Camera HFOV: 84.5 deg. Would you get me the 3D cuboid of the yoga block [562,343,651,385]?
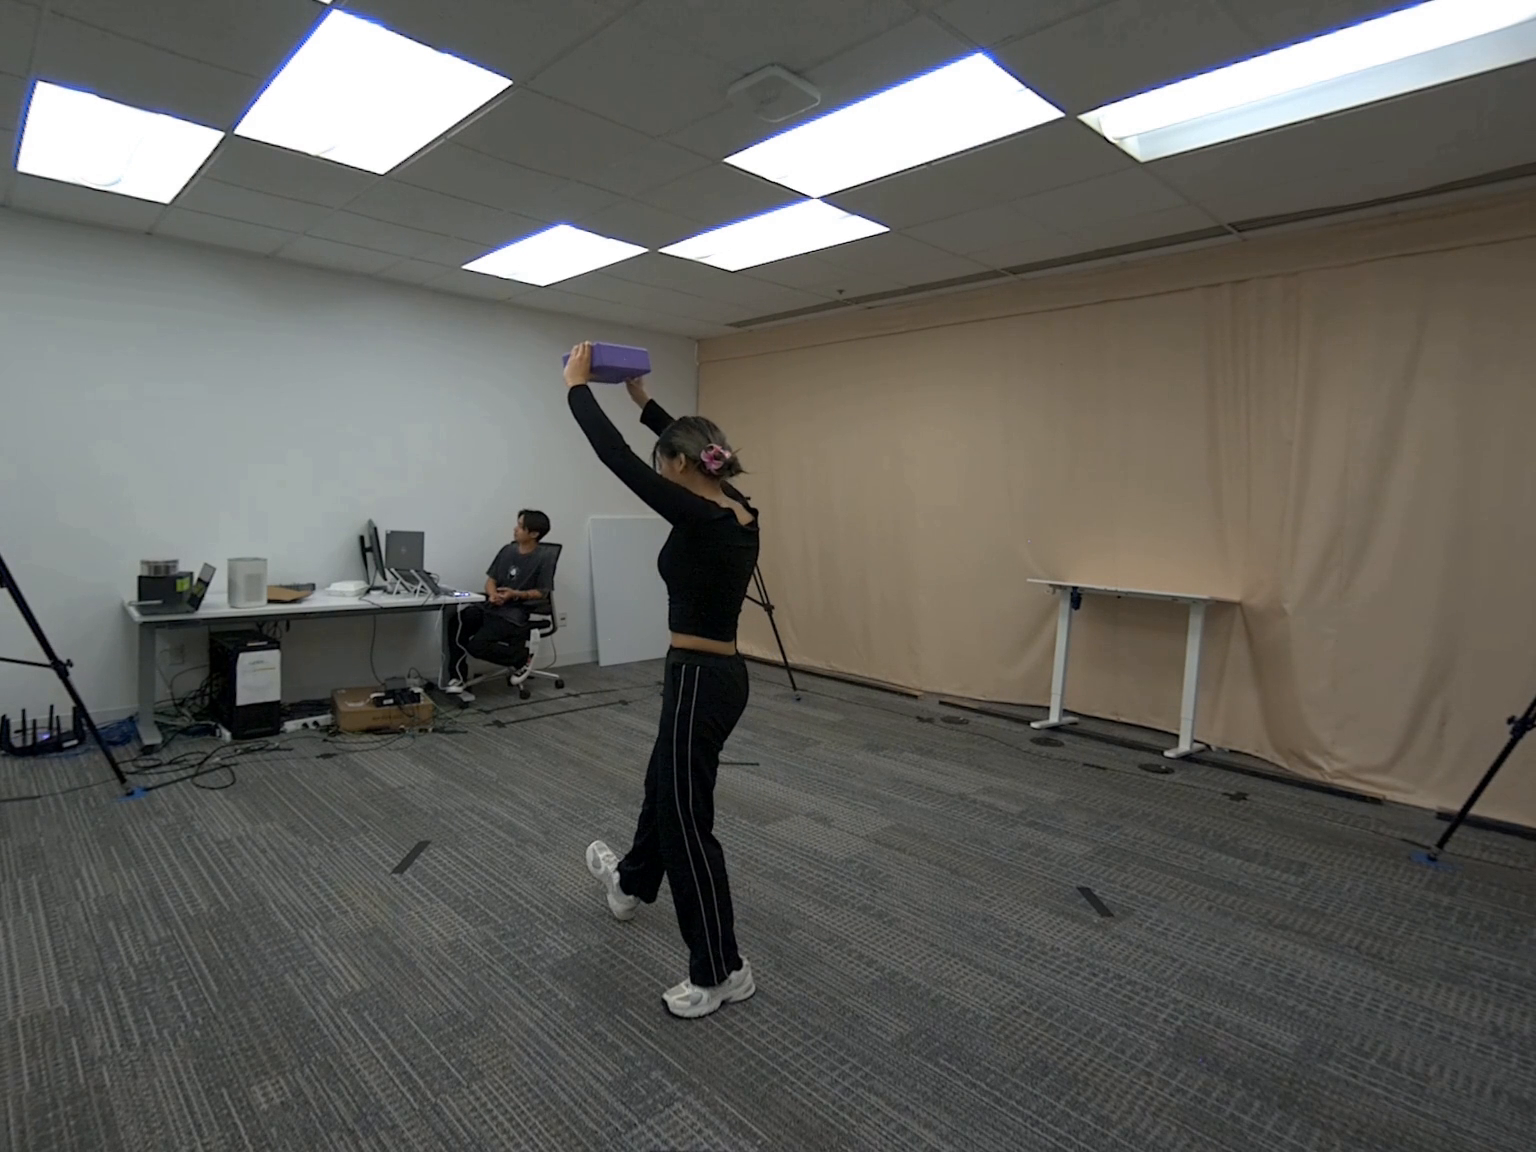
[{"bbox_3d":[-0.480,-0.626,2.461,0.152,0.076,0.226,-7,4,30],"label":"yoga block"}]
